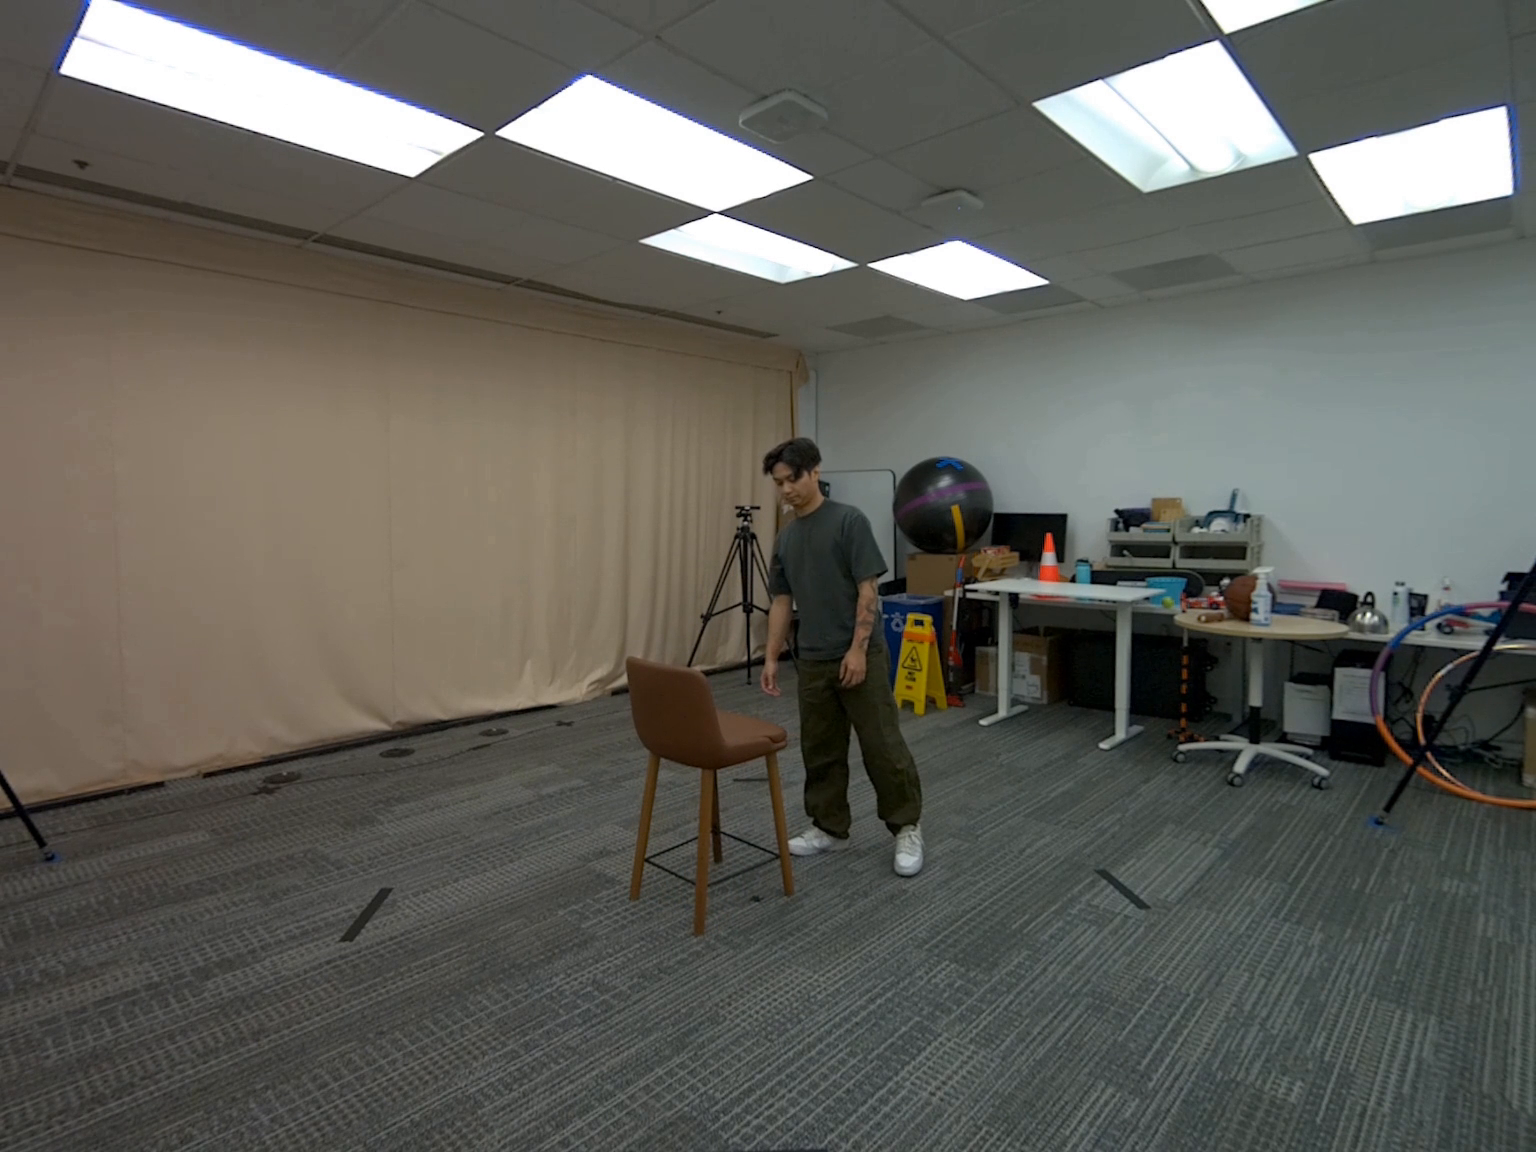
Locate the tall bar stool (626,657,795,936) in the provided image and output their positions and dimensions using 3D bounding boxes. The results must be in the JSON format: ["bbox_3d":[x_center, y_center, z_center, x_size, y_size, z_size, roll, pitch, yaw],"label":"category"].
[{"bbox_3d":[-0.211,0.710,2.980,0.454,0.887,0.472,-6,7,-44],"label":"tall bar stool"}]
